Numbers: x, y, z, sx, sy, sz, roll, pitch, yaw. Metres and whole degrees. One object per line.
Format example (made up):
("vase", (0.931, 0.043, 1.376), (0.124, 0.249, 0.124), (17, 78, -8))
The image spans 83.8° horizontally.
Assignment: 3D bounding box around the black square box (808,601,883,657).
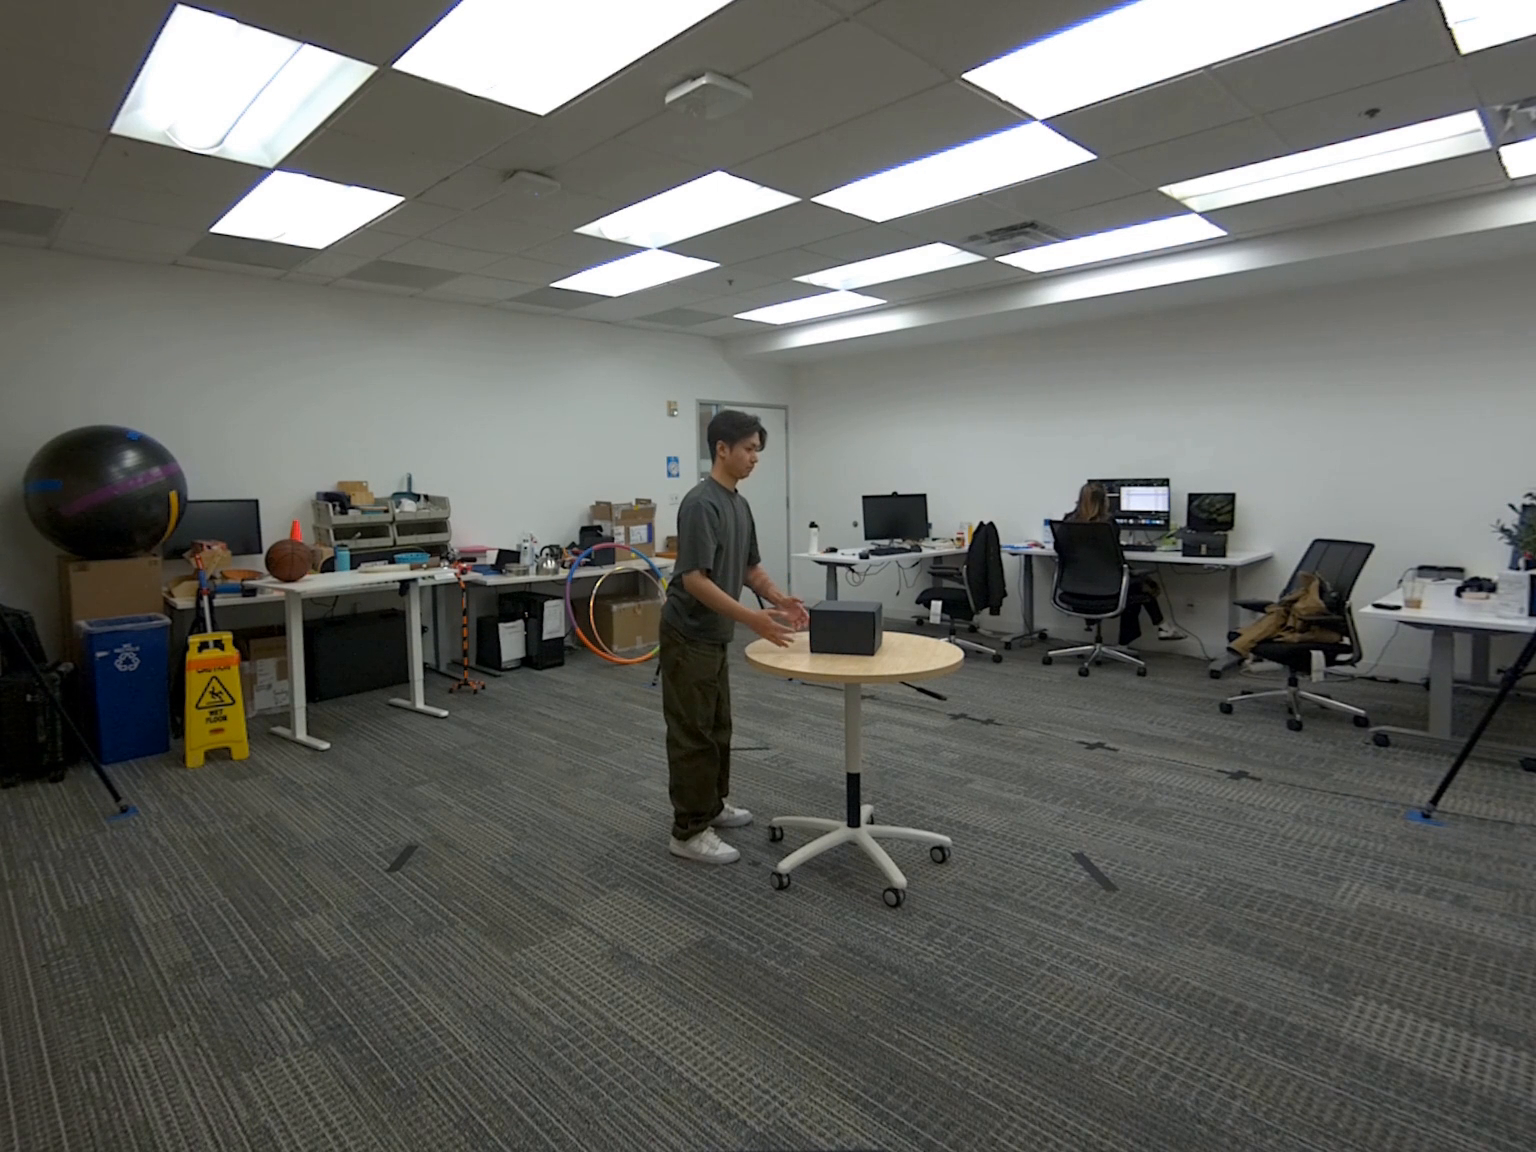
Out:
("black square box", (0.283, 0.177, 3.055), (0.232, 0.155, 0.214), (1, 7, 16))
